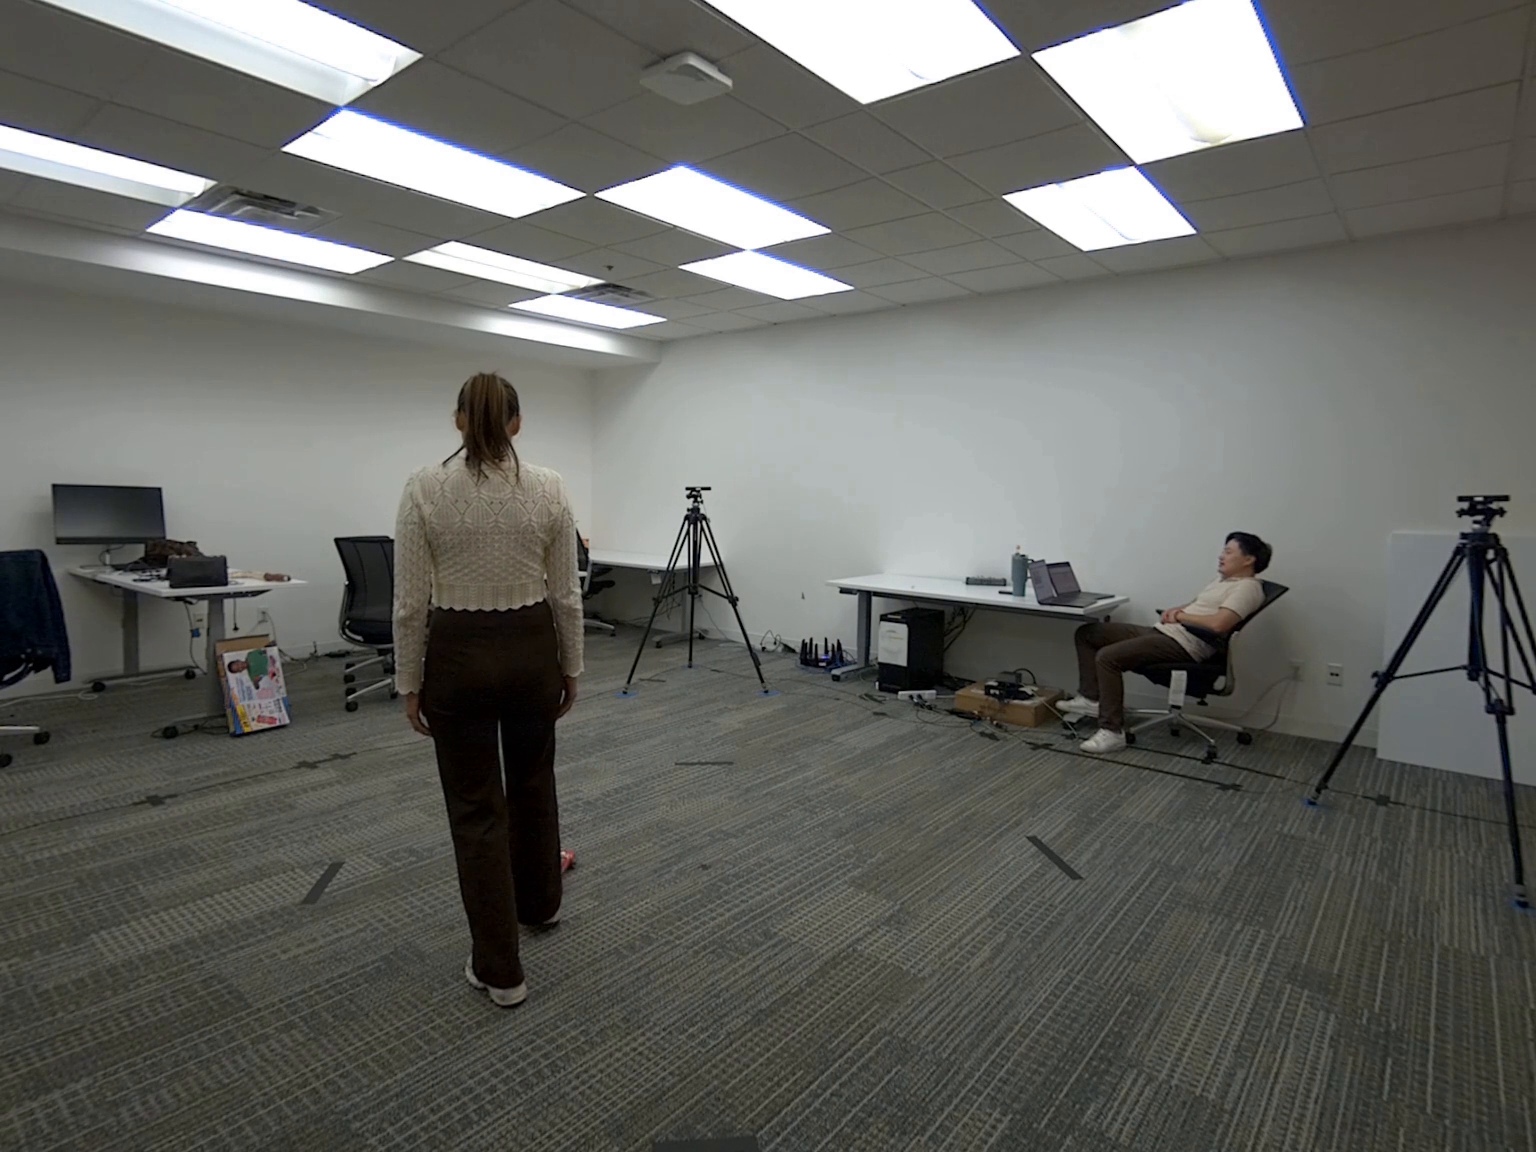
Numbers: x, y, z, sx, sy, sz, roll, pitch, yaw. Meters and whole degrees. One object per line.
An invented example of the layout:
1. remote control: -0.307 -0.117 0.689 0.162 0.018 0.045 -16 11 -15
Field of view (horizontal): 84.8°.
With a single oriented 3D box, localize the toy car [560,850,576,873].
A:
1. toy car: -0.780 1.031 3.005 0.132 0.084 0.250 2 -6 8
